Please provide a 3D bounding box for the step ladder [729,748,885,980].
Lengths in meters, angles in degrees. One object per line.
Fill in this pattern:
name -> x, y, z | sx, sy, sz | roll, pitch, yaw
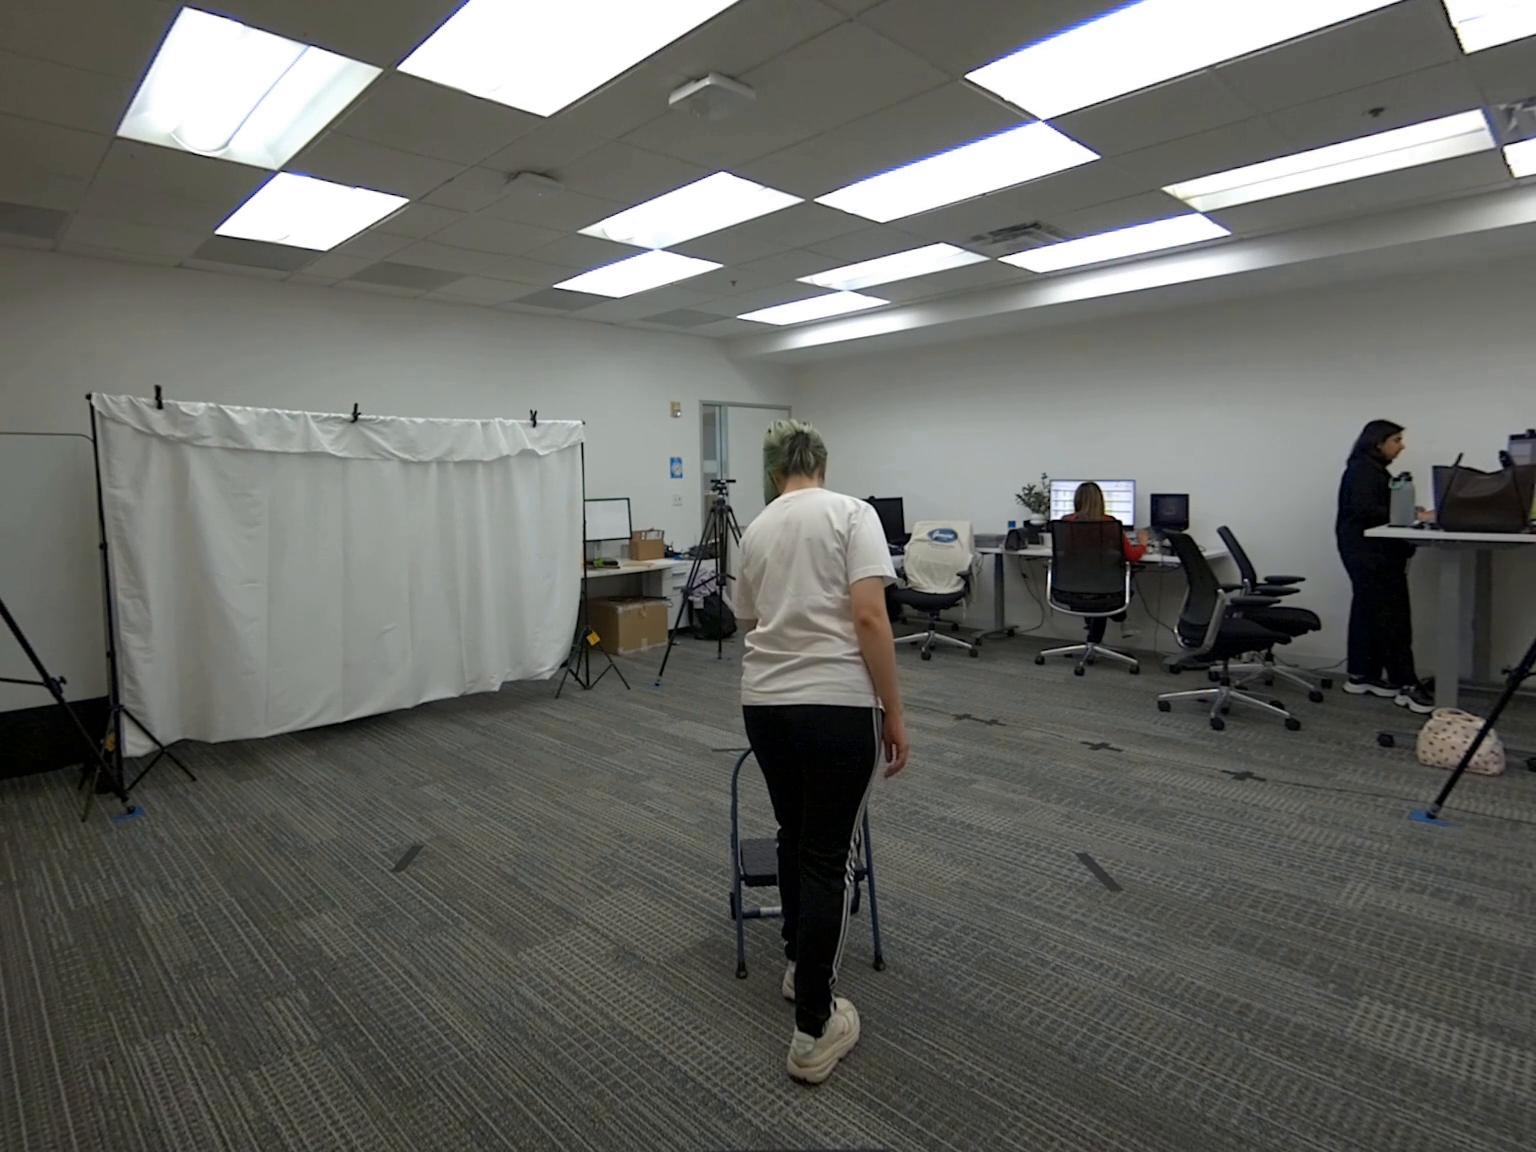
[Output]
step ladder -> 0.102, 0.808, 2.564 | 0.429, 0.604, 0.352 | -1, 4, -5
